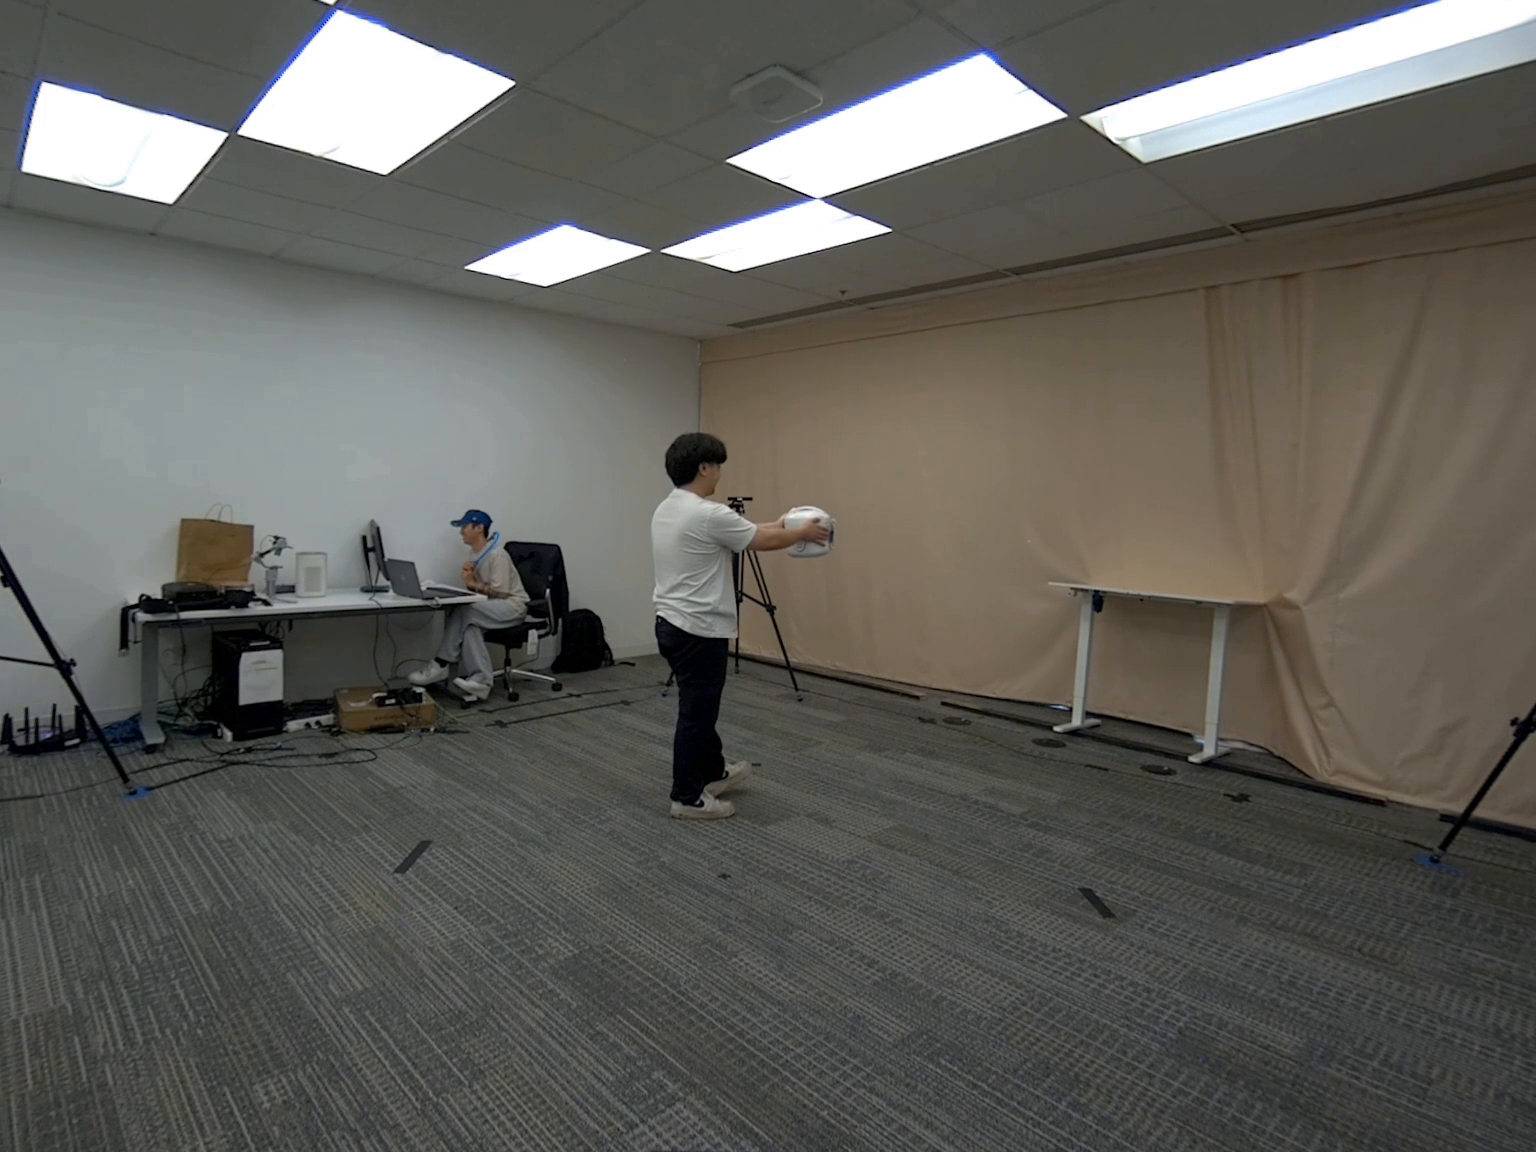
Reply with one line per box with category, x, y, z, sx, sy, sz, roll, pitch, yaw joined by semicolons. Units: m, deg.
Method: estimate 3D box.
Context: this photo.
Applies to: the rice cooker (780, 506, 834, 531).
rice cooker;0.172;-0.209;3.925;0.224;0.231;0.214;-2;7;25
